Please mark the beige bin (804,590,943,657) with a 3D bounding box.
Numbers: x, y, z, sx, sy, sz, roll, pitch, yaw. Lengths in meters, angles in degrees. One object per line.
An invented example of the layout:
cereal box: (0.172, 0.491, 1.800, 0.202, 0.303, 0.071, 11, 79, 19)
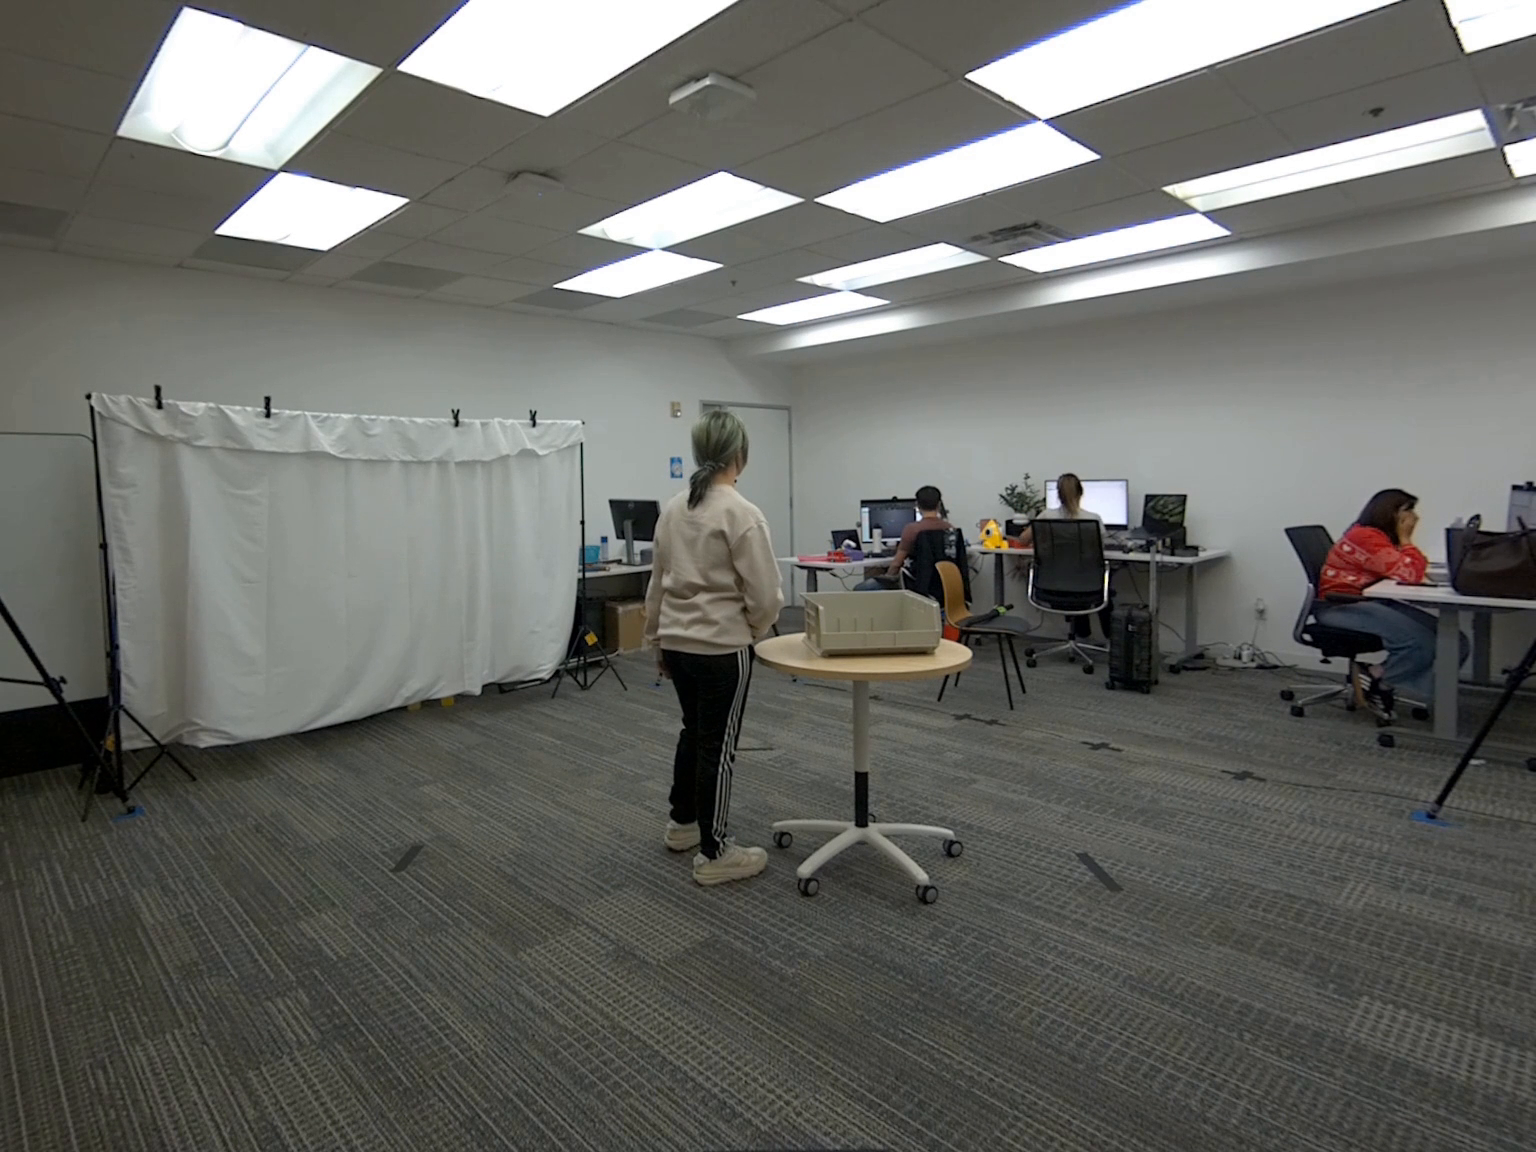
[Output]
beige bin: (0.357, 0.182, 3.056, 0.420, 0.188, 0.381, -1, 8, -5)
